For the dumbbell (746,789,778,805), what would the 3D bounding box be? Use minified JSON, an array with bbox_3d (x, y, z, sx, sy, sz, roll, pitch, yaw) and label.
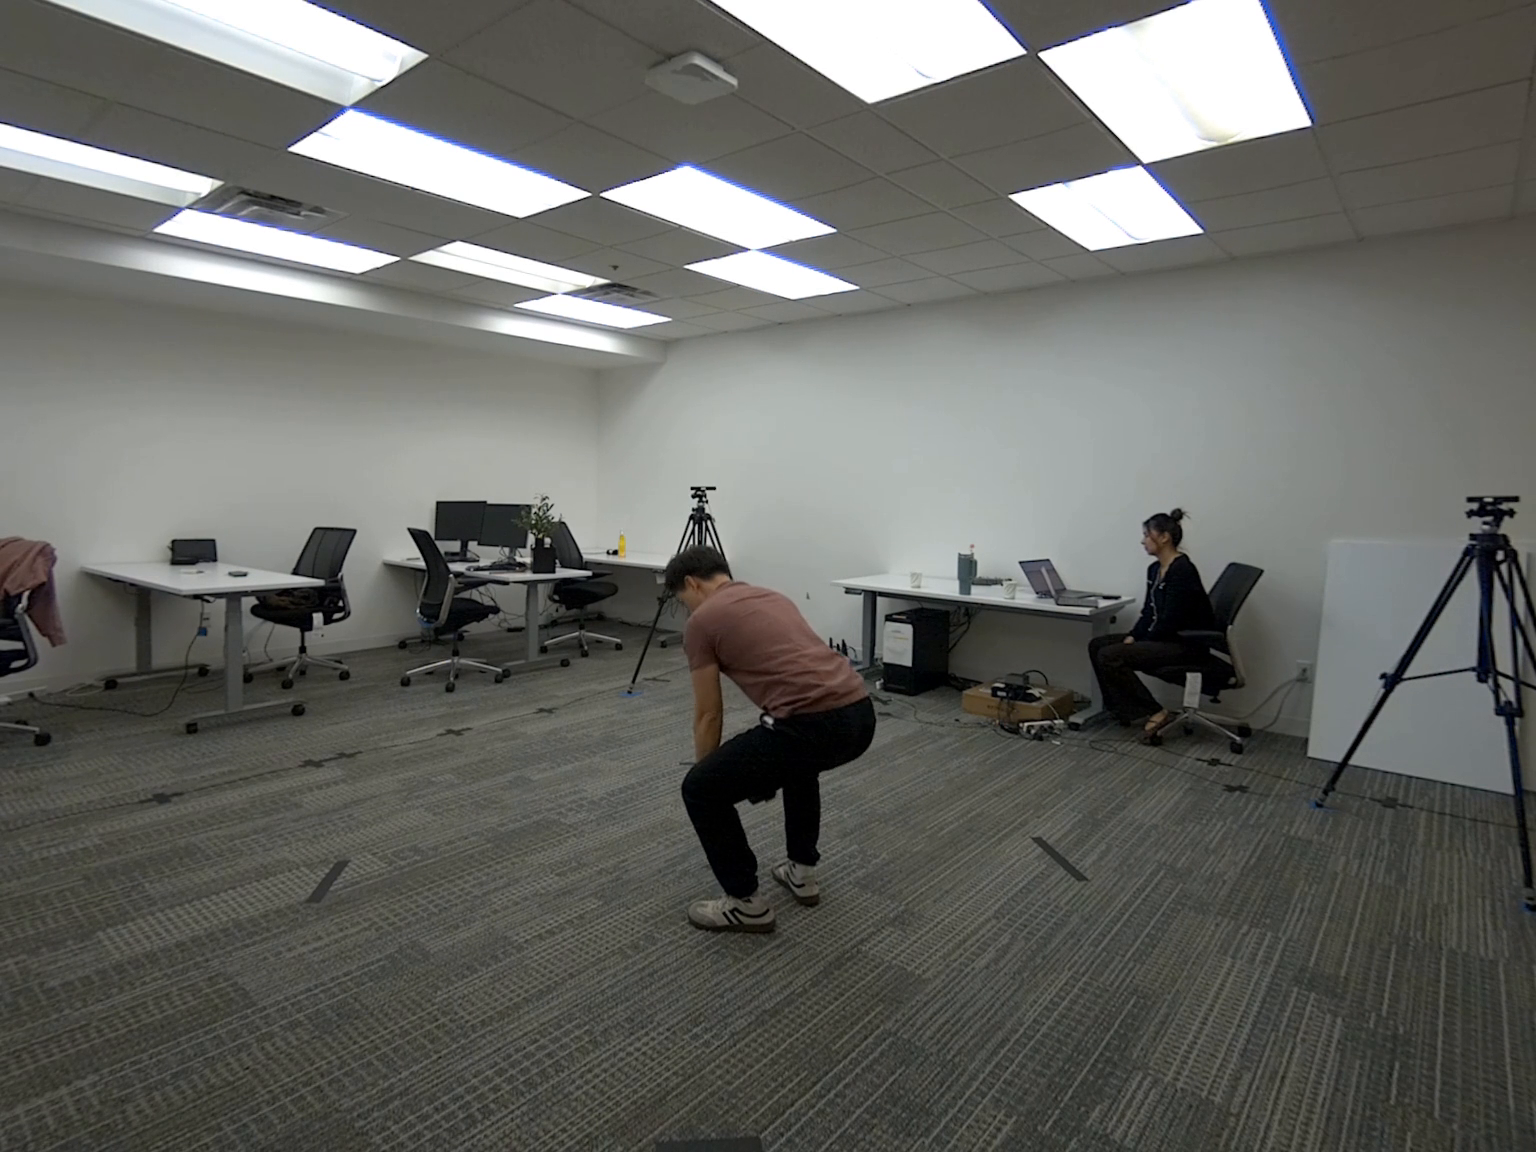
[{"bbox_3d":[-0.107,0.747,2.931,0.285,0.111,0.124,-6,-24,-45],"label":"dumbbell"}]
